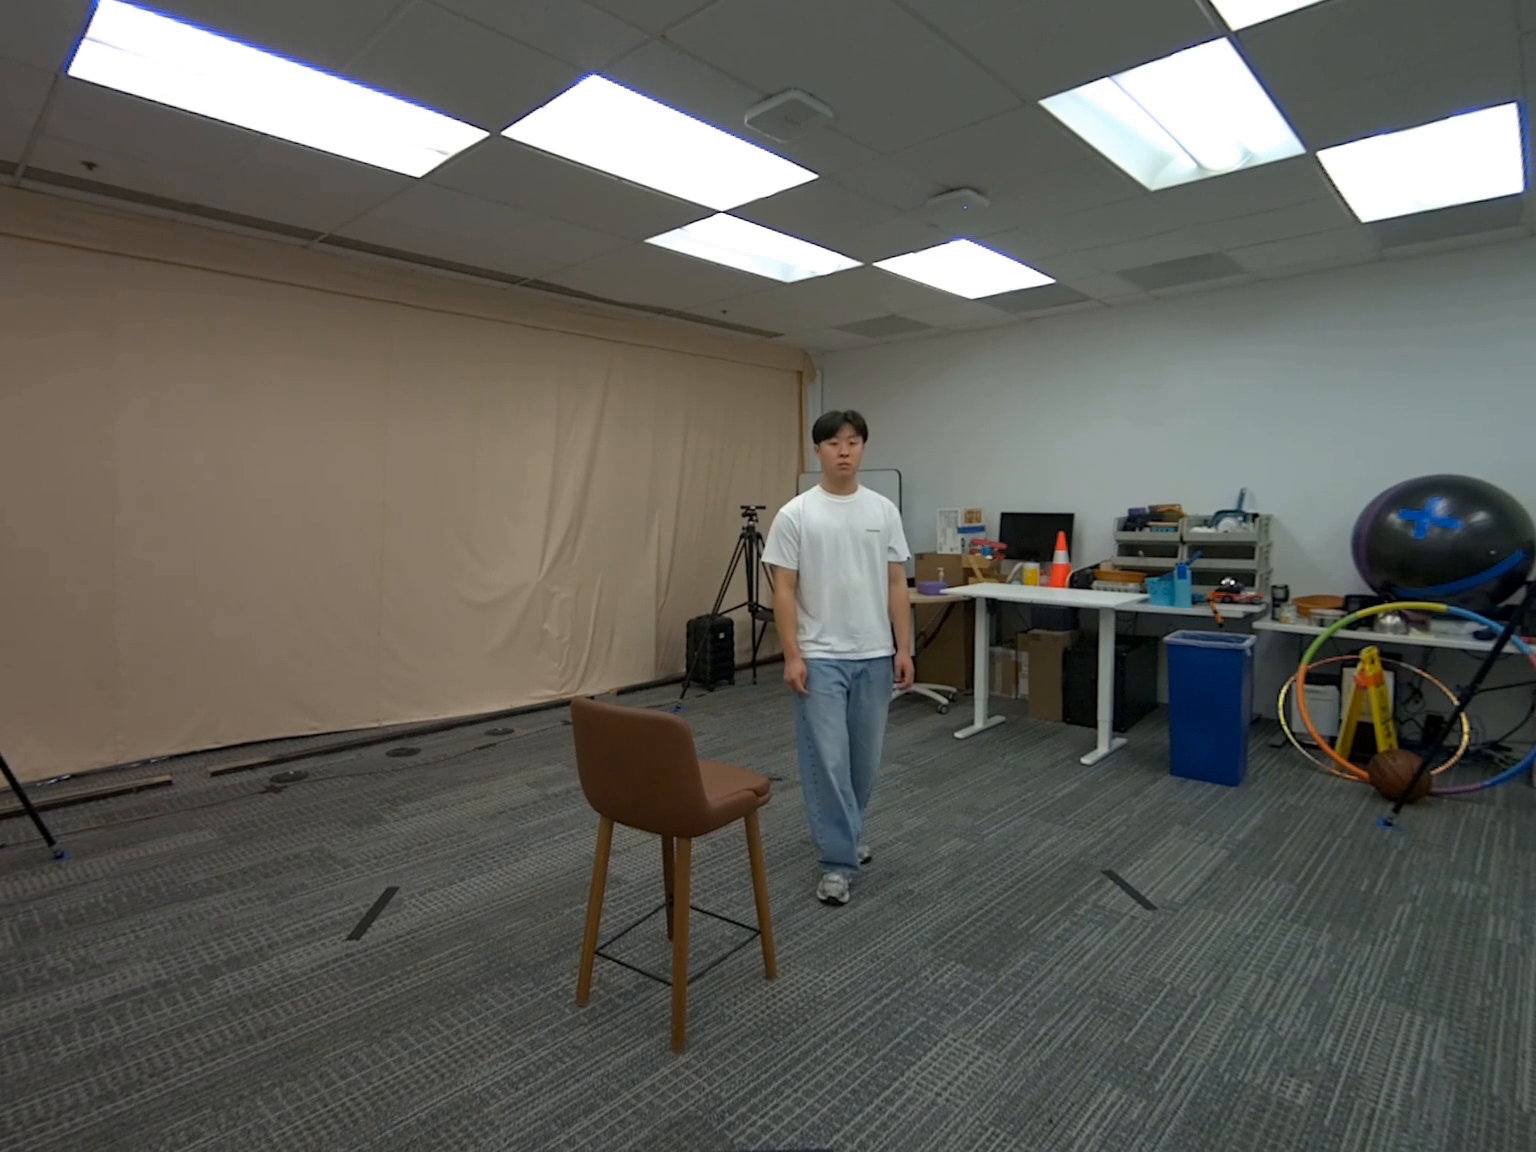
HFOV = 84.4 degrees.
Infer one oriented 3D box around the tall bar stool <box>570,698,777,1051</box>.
[{"bbox_3d":[-0.269,0.761,2.398,0.471,0.887,0.455,2,6,35],"label":"tall bar stool"}]
